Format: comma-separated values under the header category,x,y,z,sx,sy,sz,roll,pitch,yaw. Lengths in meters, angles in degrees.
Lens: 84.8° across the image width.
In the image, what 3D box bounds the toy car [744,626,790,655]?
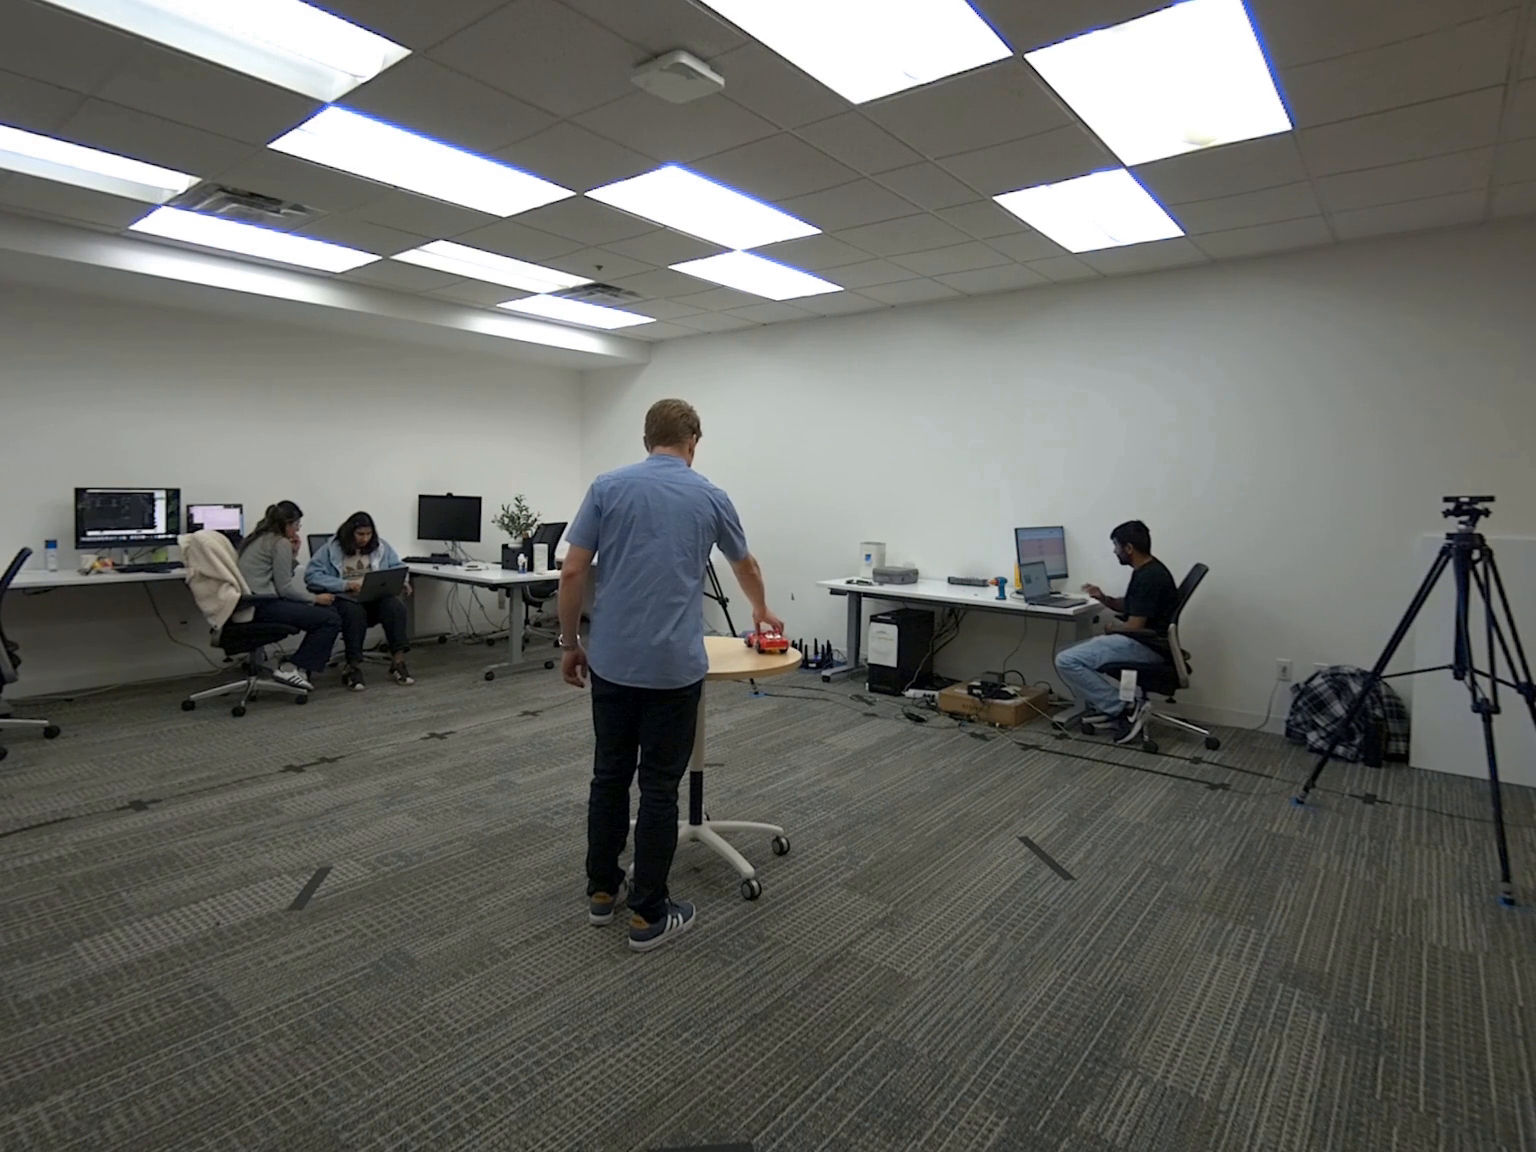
category,x,y,z,sx,sy,sz,roll,pitch,yaw
toy car,-0.011,0.248,3.210,0.128,0.084,0.257,0,-7,-17
